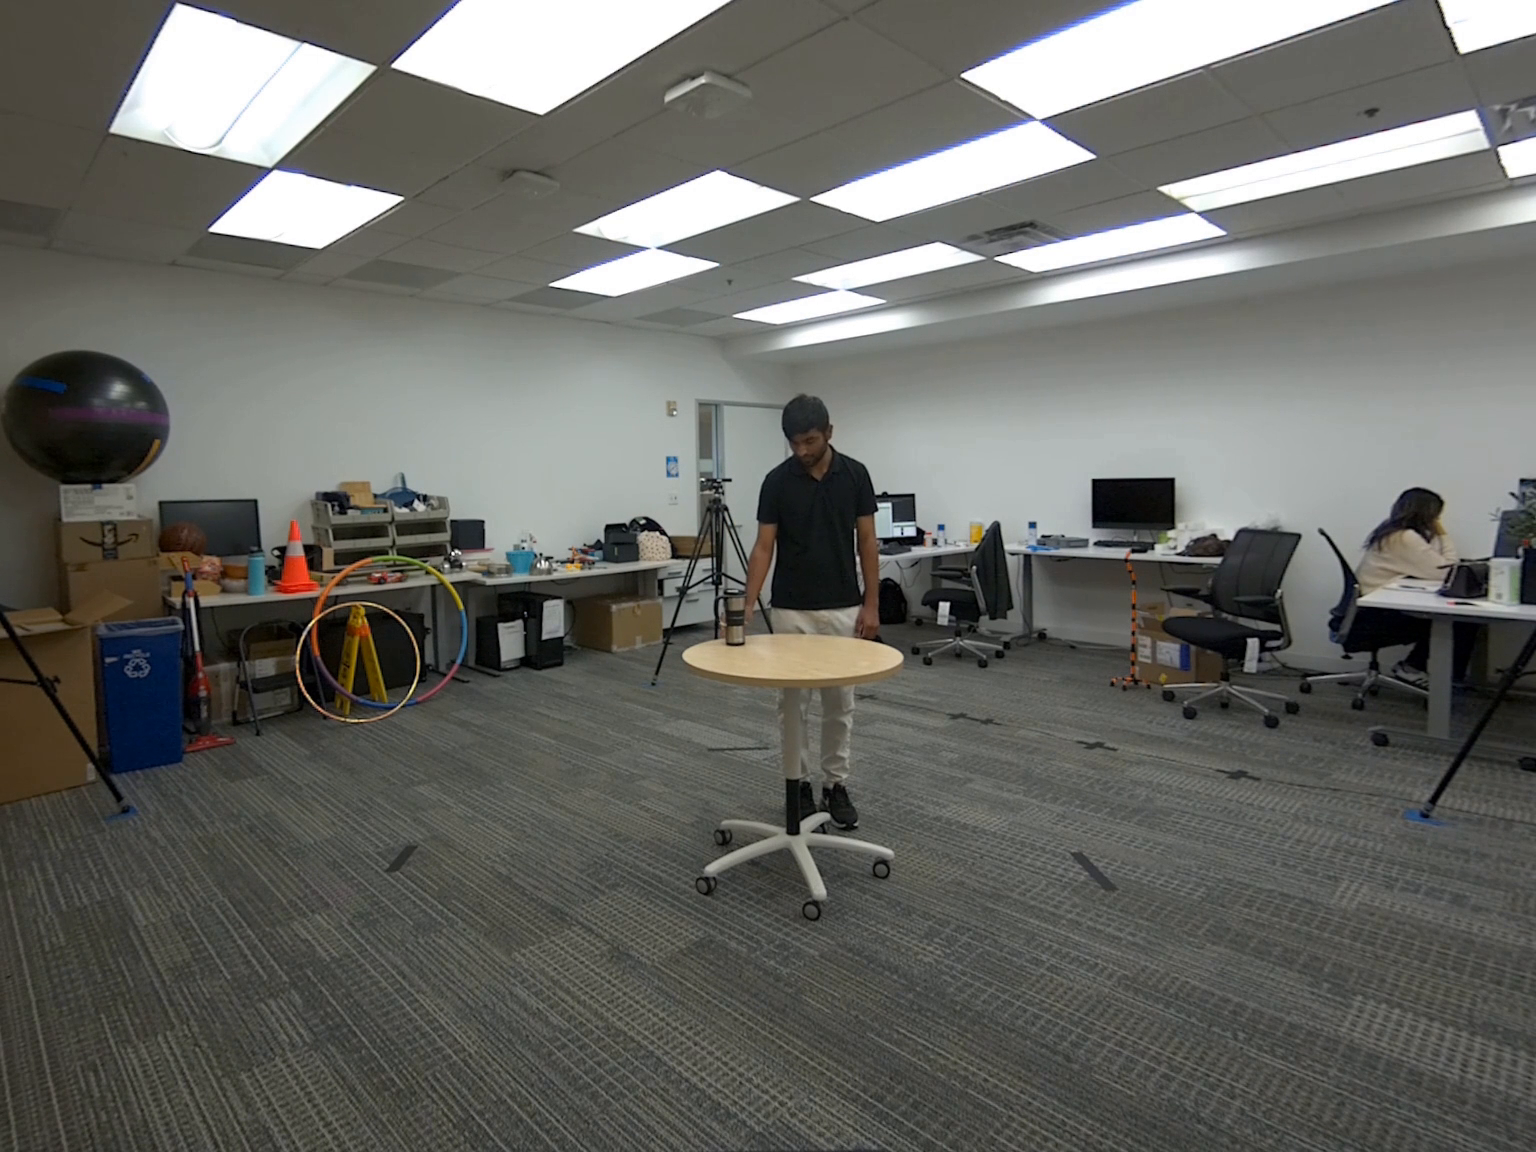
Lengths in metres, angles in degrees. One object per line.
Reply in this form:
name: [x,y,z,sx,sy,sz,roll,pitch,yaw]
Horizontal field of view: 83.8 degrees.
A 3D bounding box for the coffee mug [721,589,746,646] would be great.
coffee mug: [-0.140,0.152,3.166,0.121,0.202,0.089,2,6,-8]
